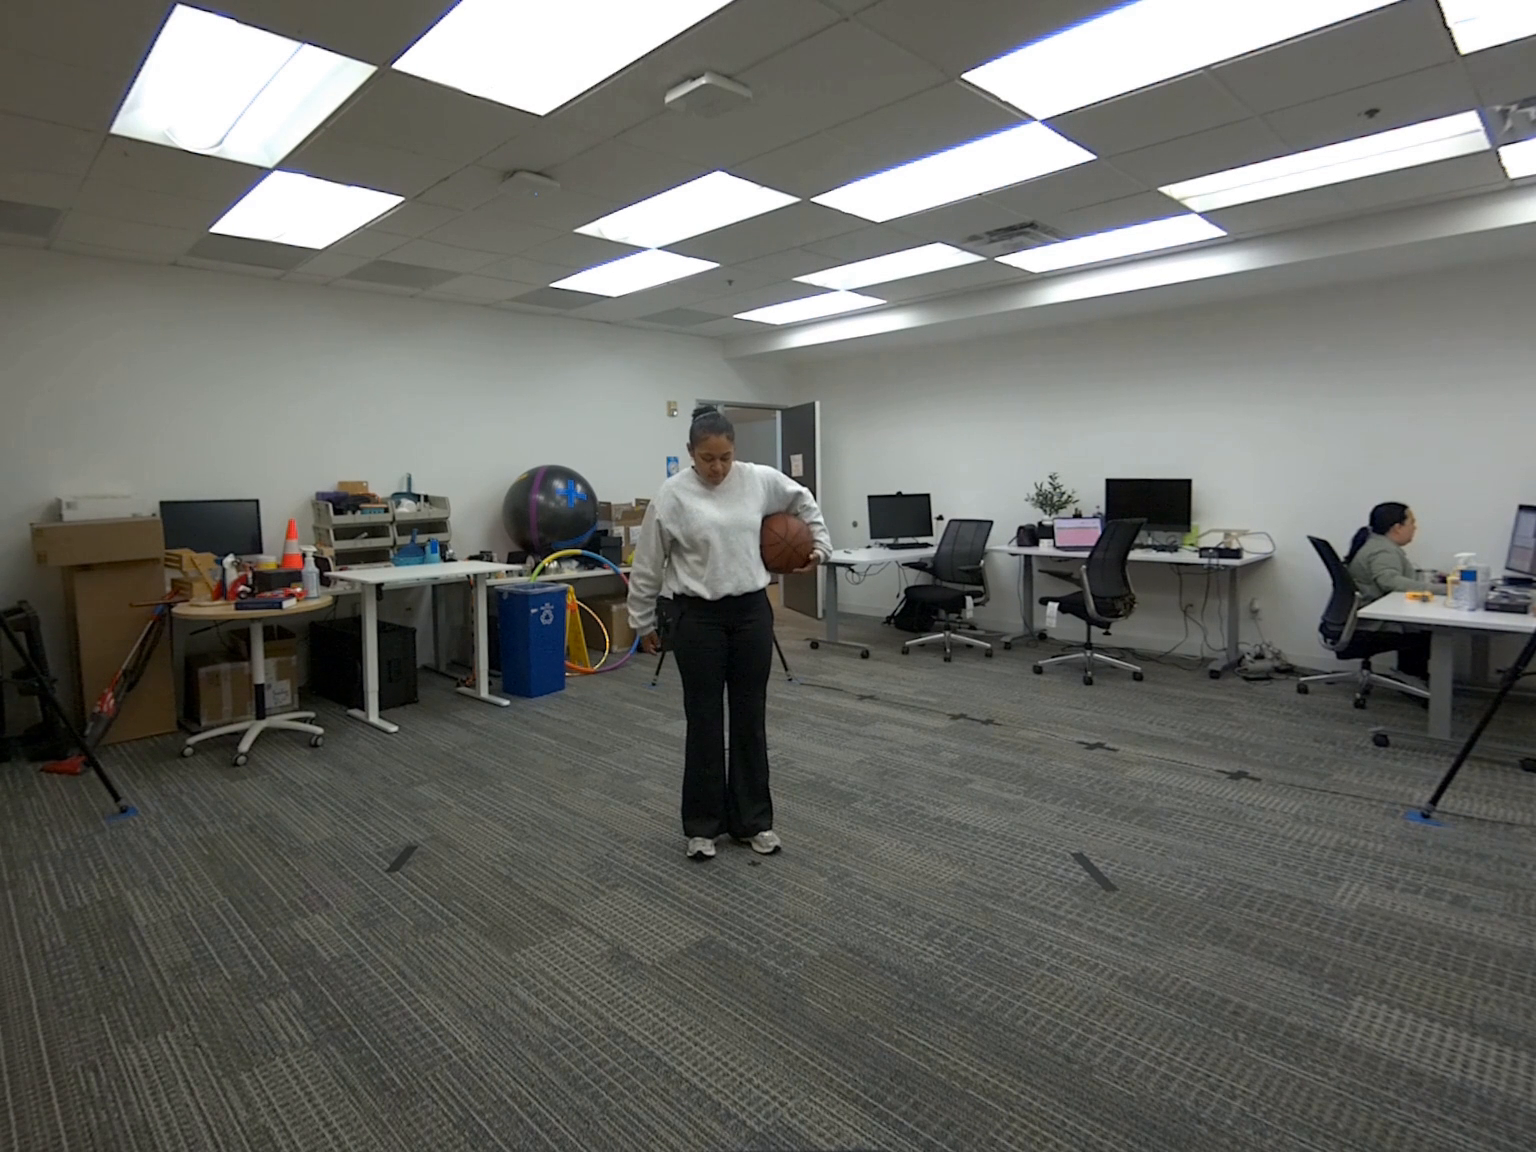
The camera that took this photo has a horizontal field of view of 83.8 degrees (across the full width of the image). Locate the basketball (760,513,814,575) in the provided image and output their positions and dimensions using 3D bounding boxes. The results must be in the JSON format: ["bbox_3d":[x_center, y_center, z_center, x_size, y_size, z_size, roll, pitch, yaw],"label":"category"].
[{"bbox_3d":[0.053,-0.130,3.320,0.236,0.235,0.237,-1,5,-2],"label":"basketball"}]
